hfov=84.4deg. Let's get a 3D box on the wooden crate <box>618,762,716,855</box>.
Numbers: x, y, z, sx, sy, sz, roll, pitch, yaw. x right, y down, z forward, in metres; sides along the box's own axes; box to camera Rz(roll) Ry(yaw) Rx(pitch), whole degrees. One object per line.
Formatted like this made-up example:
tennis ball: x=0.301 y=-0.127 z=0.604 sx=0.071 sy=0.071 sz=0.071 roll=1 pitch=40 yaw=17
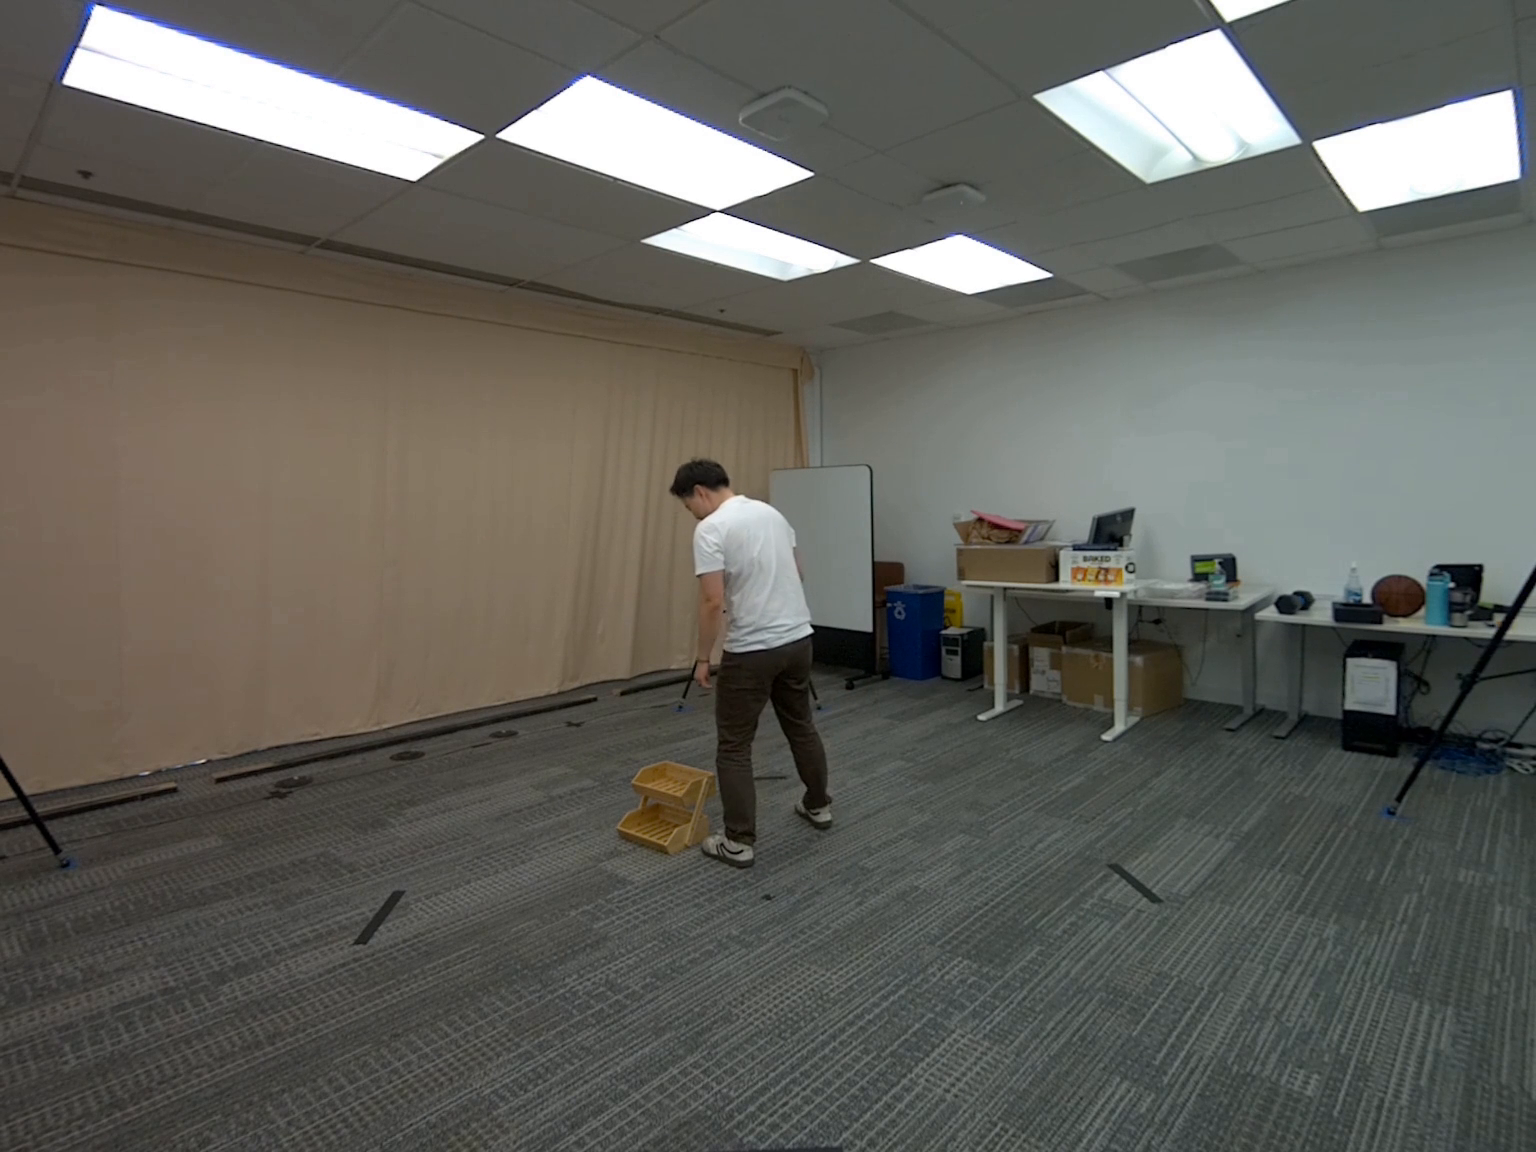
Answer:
wooden crate: x=-0.429 y=0.967 z=3.550 sx=0.335 sy=0.273 sz=0.293 roll=1 pitch=4 yaw=39
